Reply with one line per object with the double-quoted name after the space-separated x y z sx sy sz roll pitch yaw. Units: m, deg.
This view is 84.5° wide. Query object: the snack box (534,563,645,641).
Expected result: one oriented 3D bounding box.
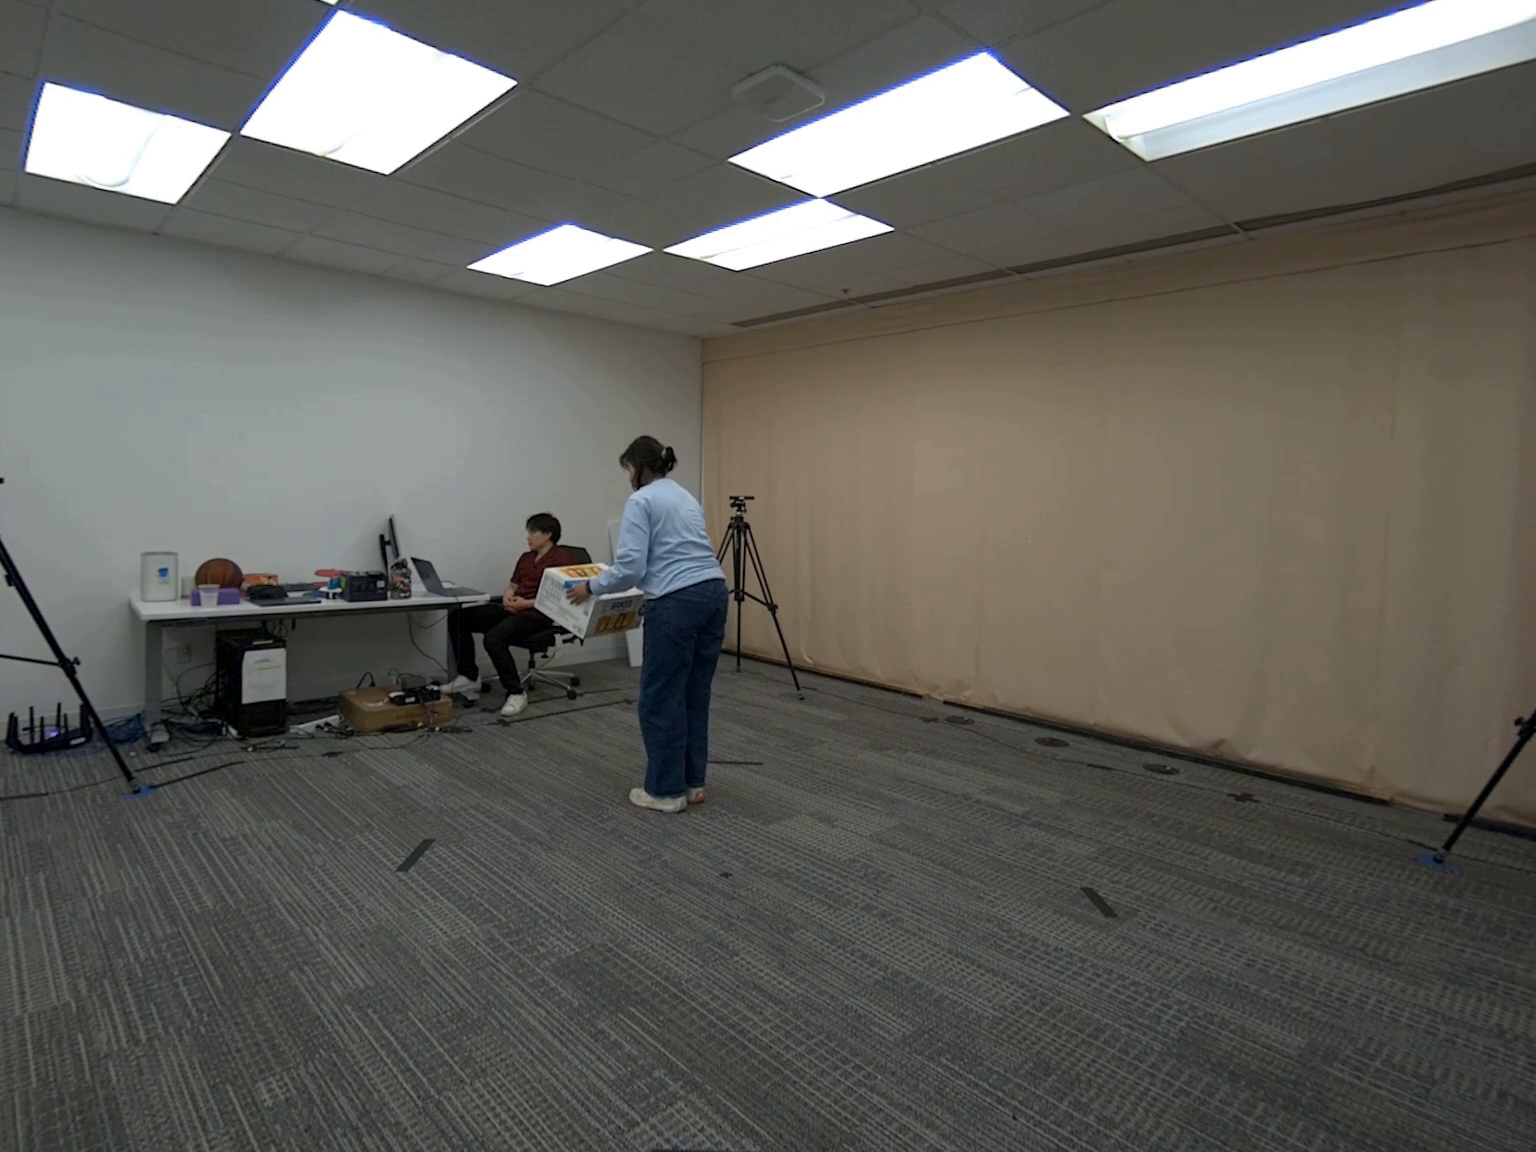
-0.834 0.115 4.019 0.349 0.204 0.397 27 18 27 "snack box"
